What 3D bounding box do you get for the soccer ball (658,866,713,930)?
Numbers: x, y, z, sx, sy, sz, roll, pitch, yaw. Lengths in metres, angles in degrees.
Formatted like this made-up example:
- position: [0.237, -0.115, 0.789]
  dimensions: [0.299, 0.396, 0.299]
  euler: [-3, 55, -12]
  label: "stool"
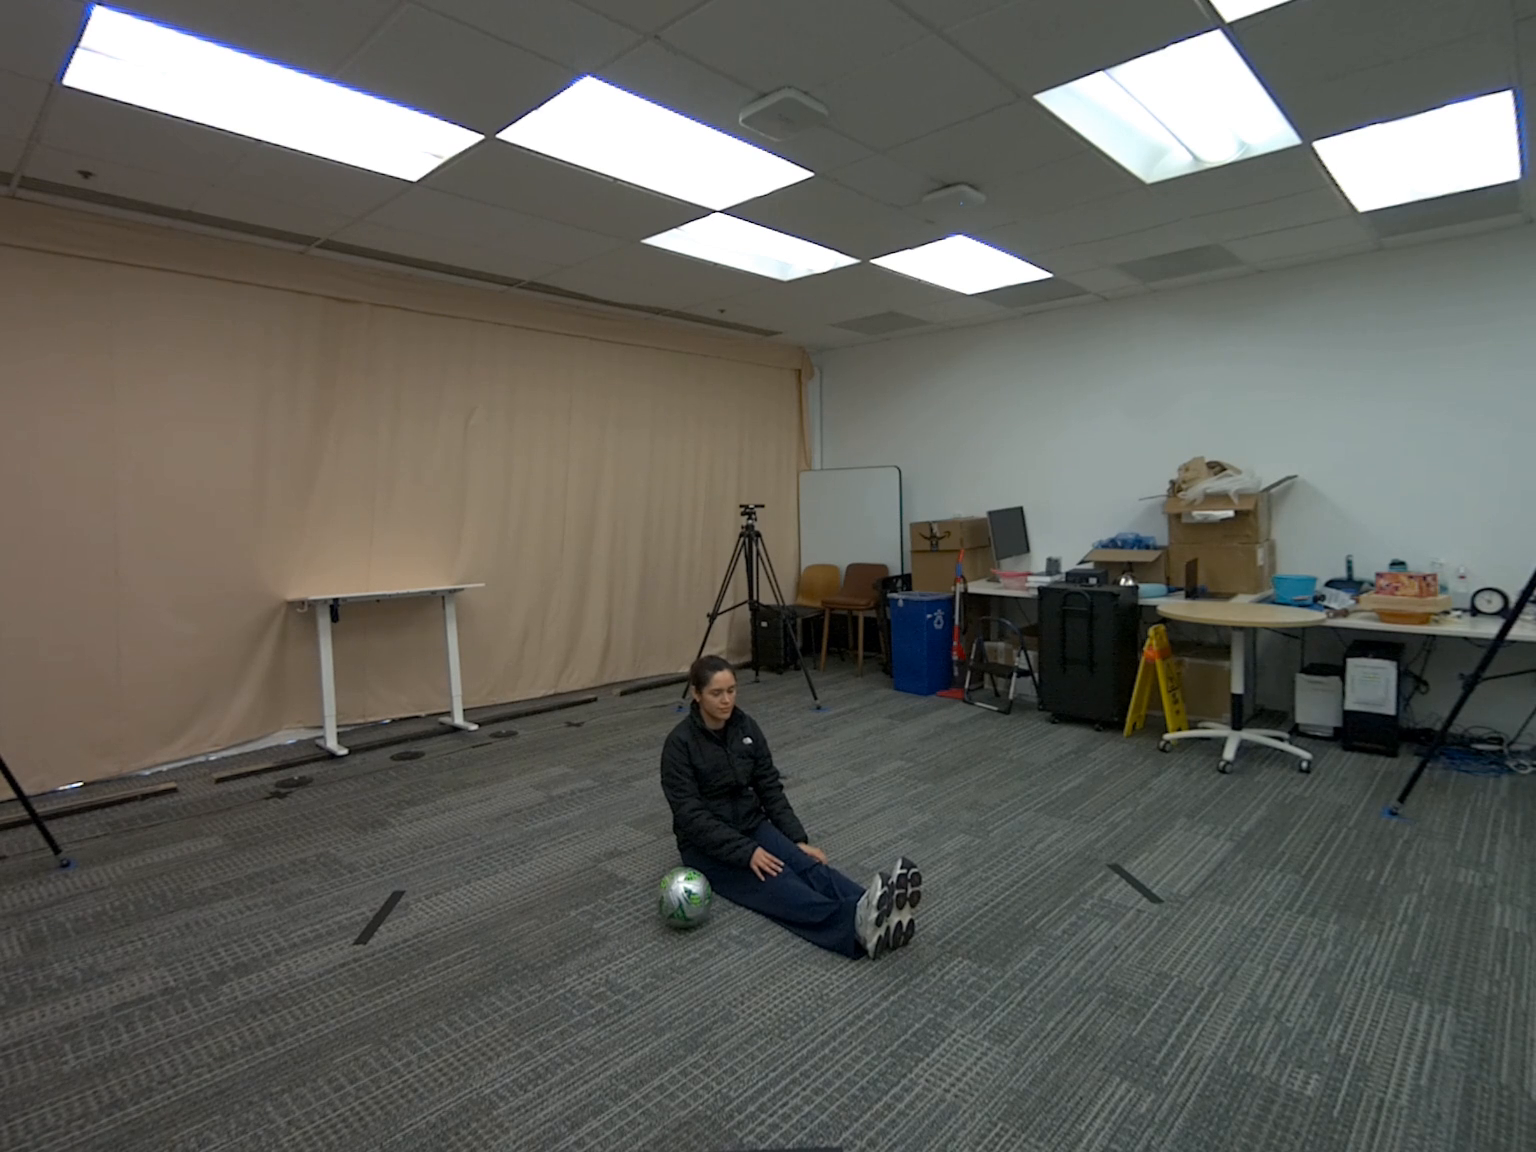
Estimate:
- position: [-0.283, 1.063, 2.796]
  dimensions: [0.187, 0.187, 0.188]
  euler: [-1, 4, -2]
  label: "soccer ball"
